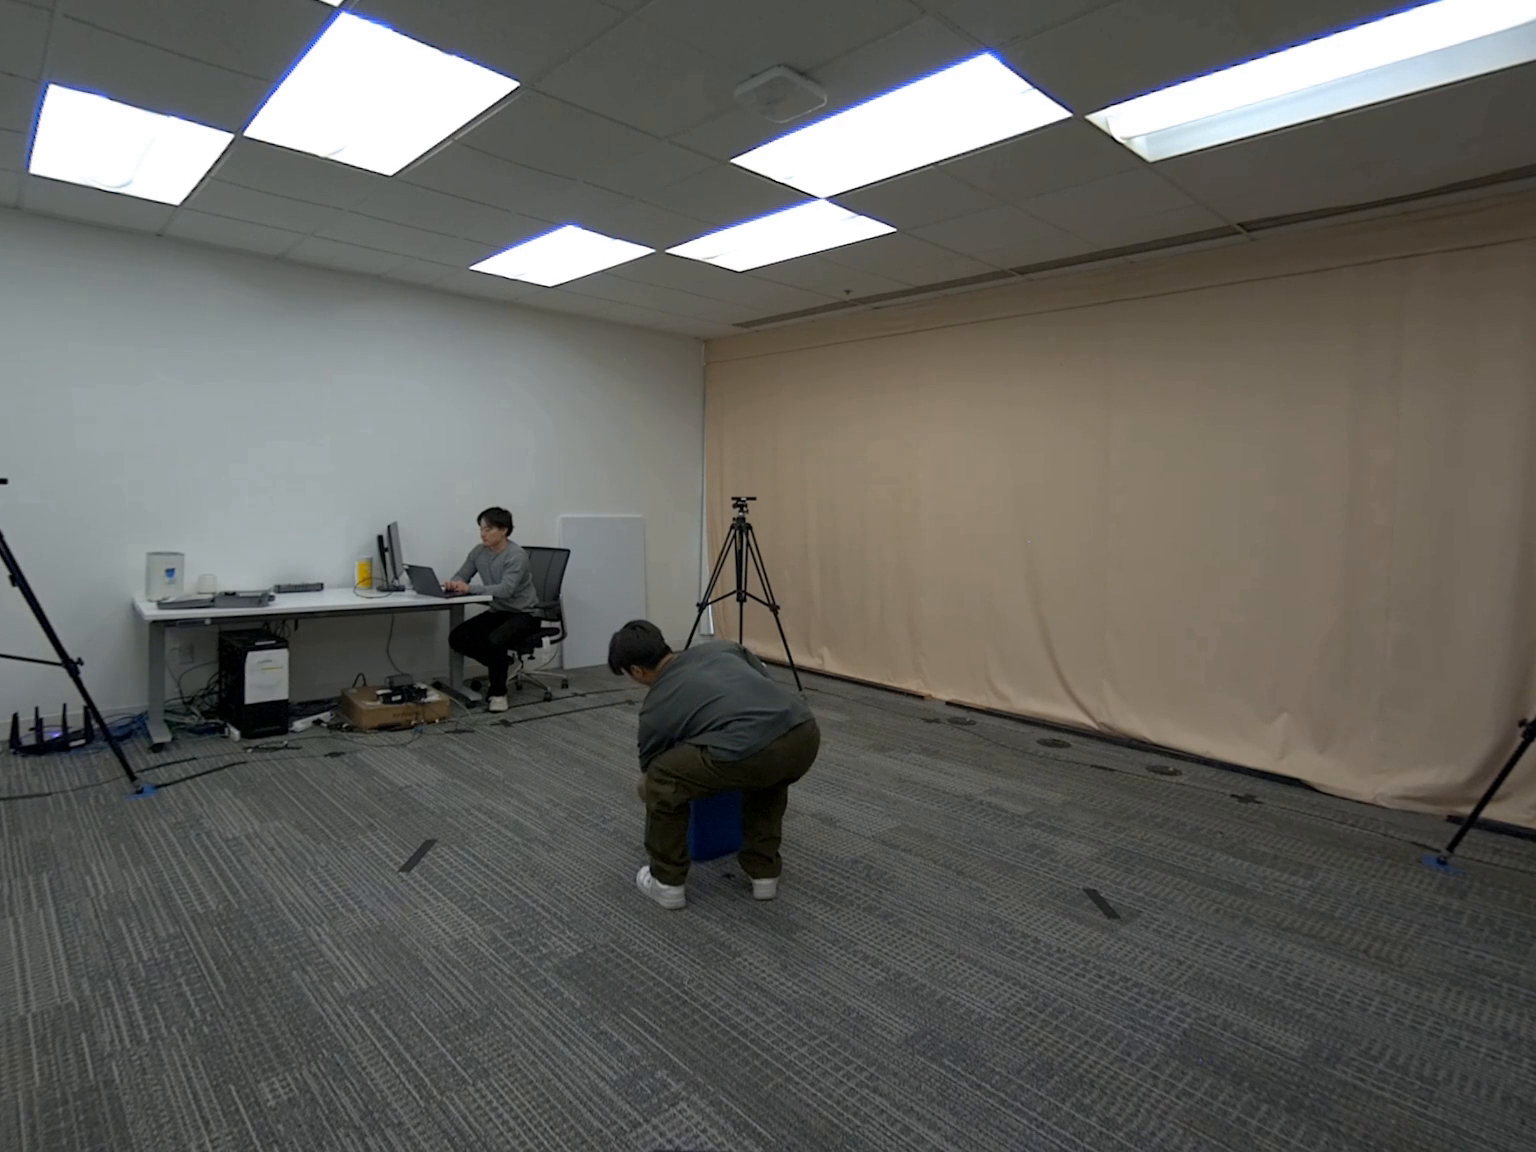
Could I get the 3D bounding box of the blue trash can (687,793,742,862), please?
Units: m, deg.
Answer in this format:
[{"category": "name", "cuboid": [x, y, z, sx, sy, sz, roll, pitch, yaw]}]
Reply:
[{"category": "blue trash can", "cuboid": [-0.255, 0.717, 3.410, 0.365, 0.713, 0.387, -1, 2, -39]}]
